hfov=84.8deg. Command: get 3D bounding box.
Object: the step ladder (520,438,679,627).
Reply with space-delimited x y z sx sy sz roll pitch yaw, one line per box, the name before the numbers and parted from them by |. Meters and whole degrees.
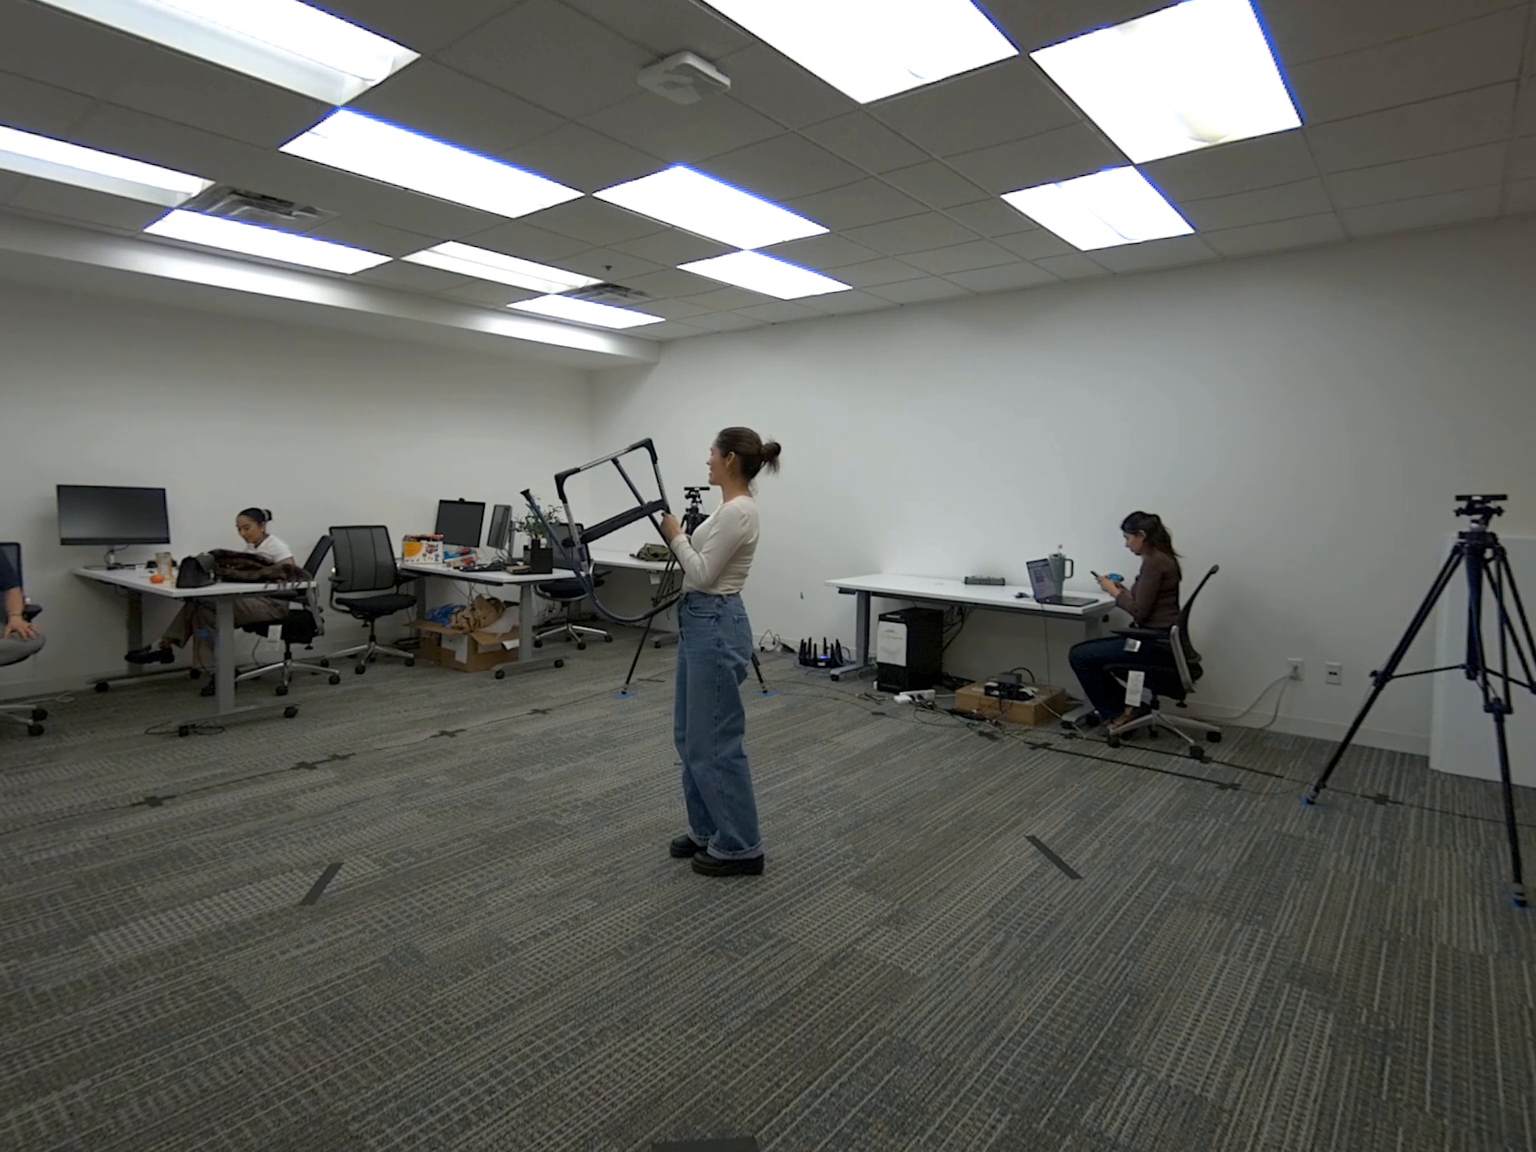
step ladder | -0.571 -0.142 3.178 0.424 0.602 0.357 -27 7 -33
